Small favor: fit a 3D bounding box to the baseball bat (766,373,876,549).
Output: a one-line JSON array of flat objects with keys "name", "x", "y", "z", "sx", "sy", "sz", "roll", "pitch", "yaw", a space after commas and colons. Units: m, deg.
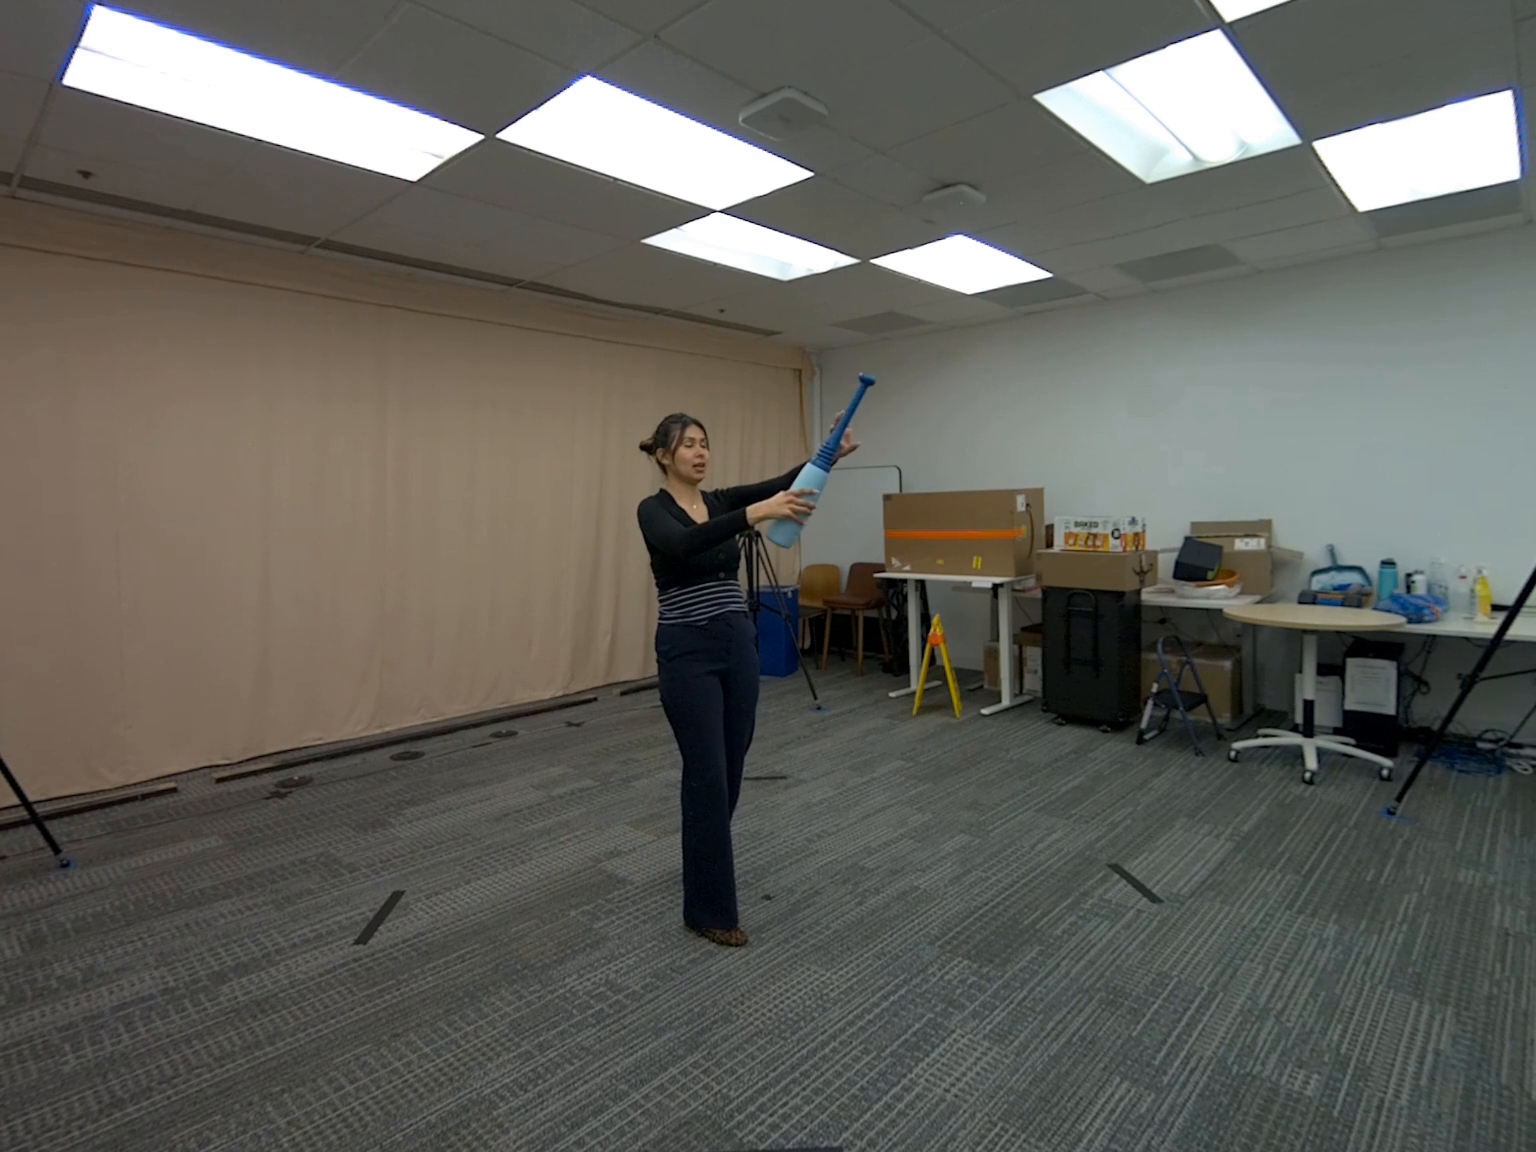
[{"name": "baseball bat", "x": 0.156, "y": -0.325, "z": 2.399, "sx": 0.088, "sy": 0.543, "sz": 0.090, "roll": 27, "pitch": 11, "yaw": -8}]
